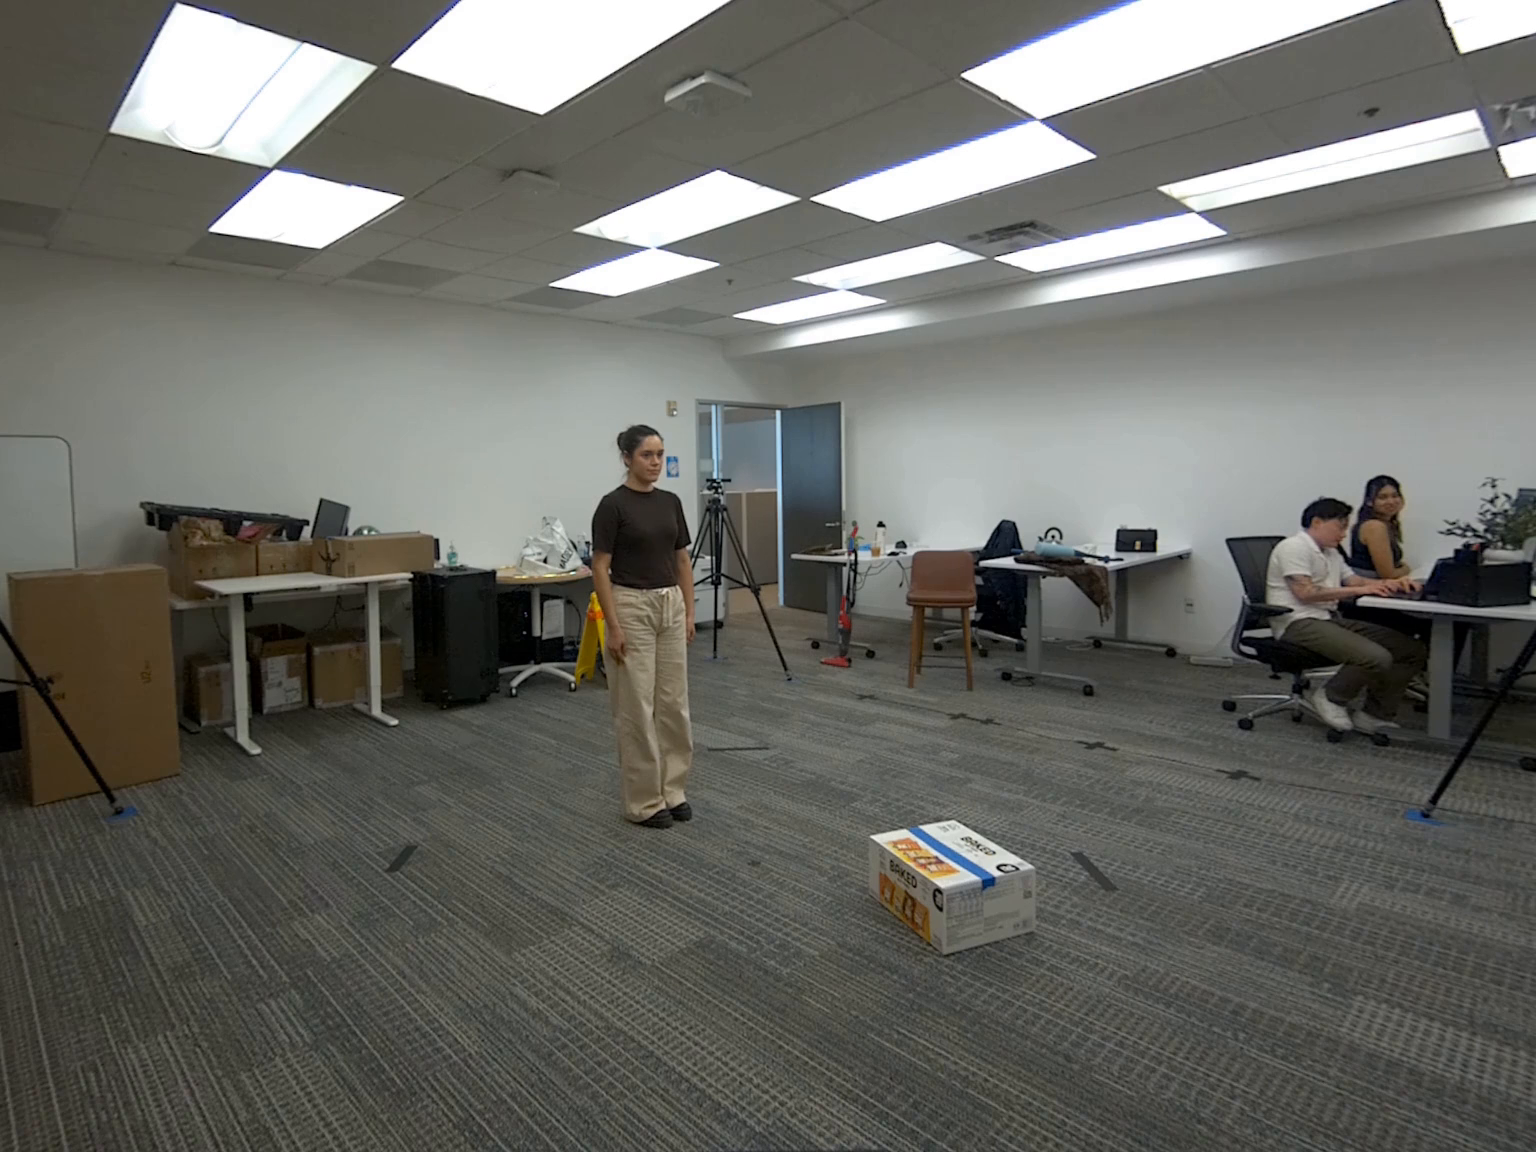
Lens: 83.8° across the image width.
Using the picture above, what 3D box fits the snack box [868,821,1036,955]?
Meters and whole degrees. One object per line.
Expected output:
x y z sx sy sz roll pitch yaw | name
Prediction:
0.583 0.976 2.719 0.334 0.205 0.415 -4 6 -23 | snack box
